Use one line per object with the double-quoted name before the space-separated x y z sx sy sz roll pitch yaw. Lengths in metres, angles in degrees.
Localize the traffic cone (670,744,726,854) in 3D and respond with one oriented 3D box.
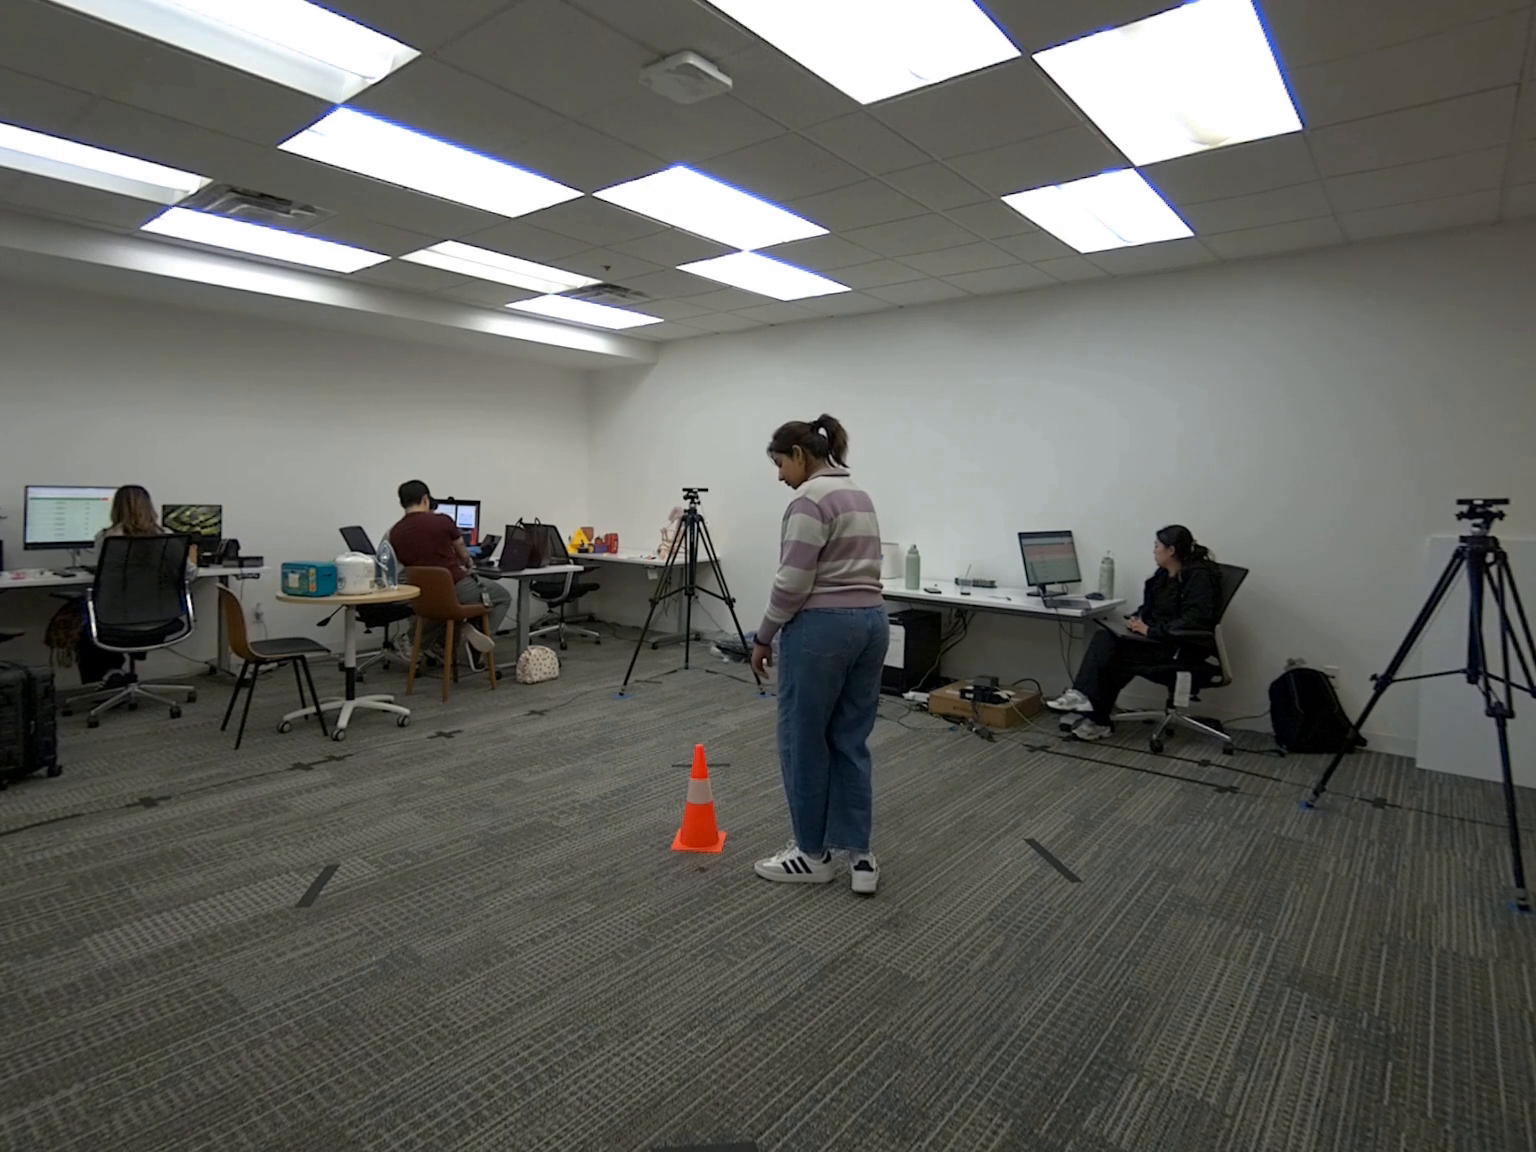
"traffic cone" -0.276 0.860 3.353 0.207 0.382 0.202 1 4 6
